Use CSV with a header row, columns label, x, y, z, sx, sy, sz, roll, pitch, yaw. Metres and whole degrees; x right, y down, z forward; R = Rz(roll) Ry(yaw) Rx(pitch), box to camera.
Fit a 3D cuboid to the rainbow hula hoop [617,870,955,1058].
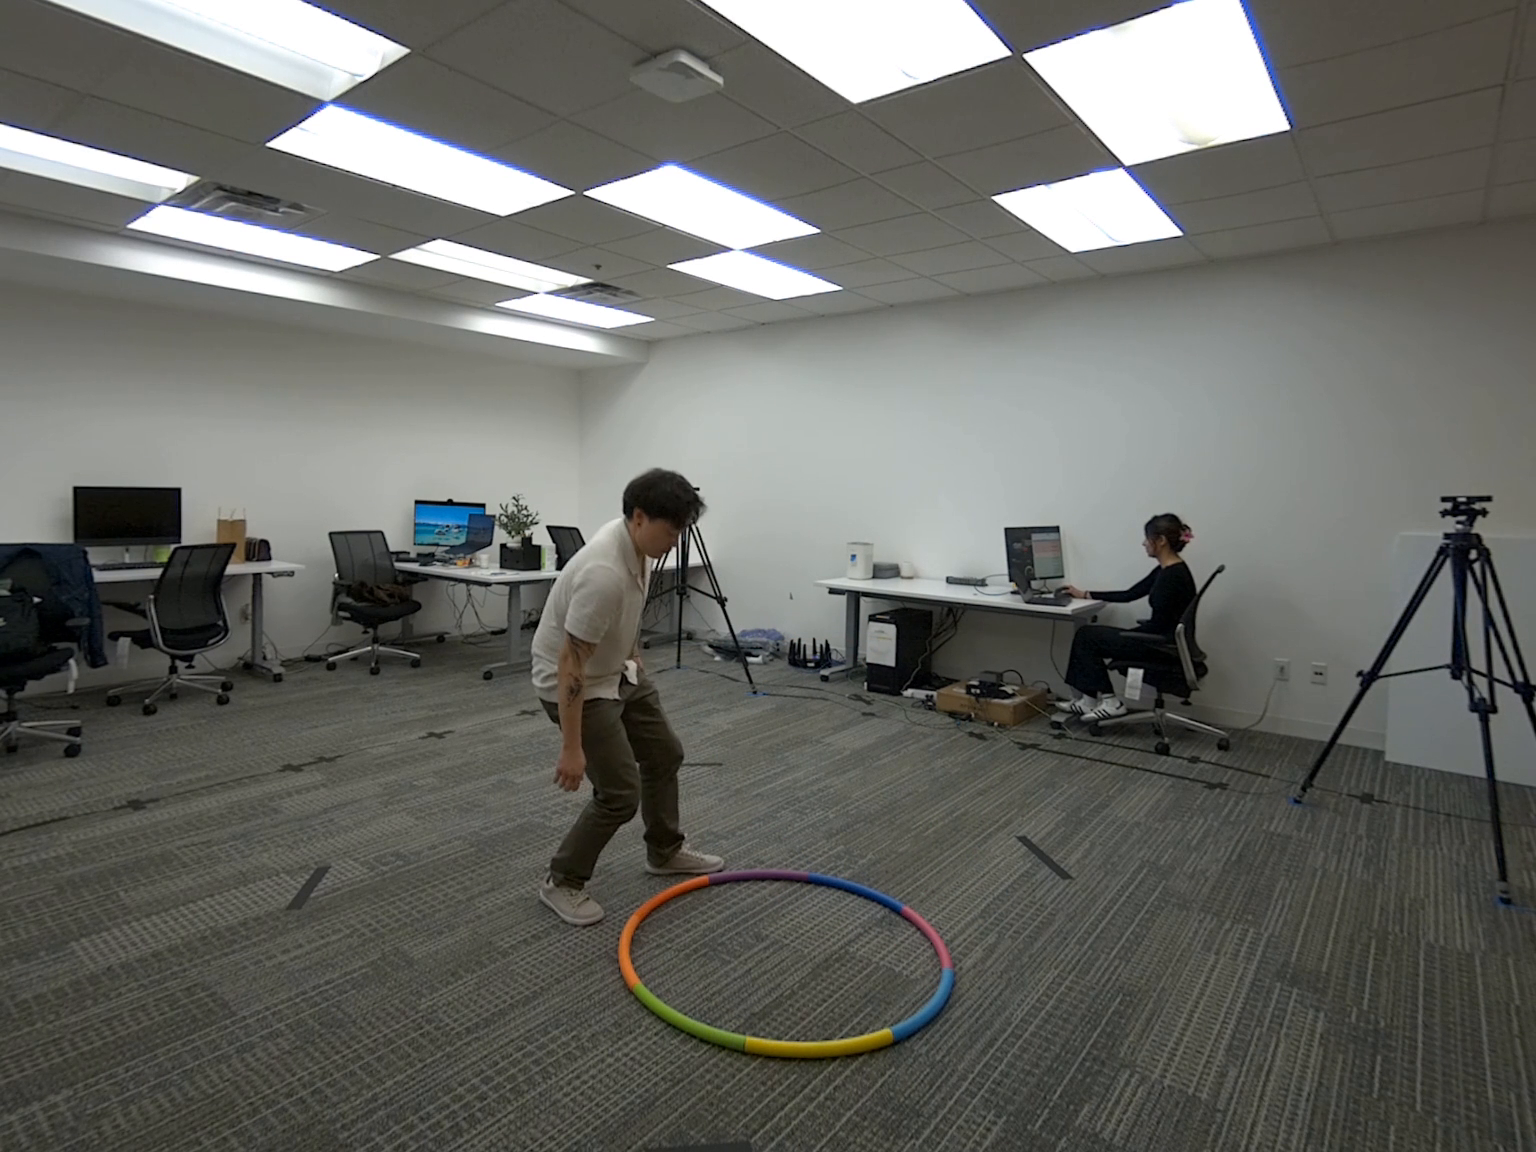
label,x,y,z,sx,sy,sz,roll,pitch,yaw
rainbow hula hoop,0.036,1.093,2.563,0.978,0.035,0.983,1,5,-2
